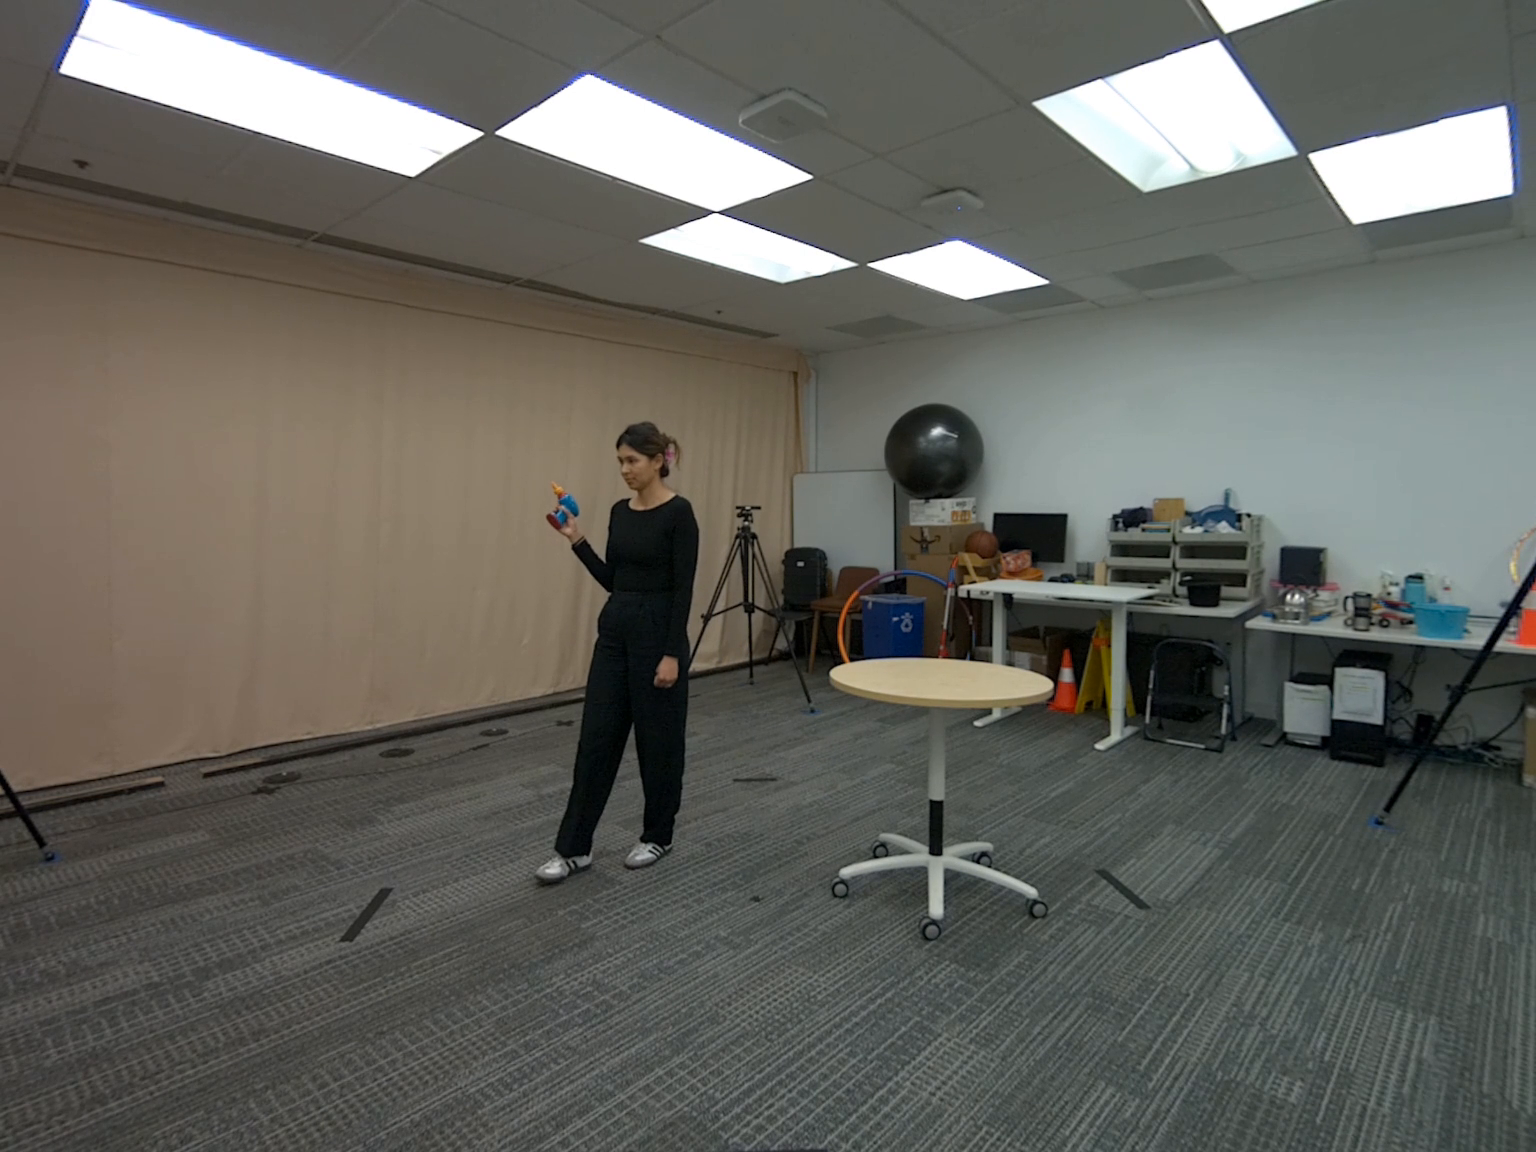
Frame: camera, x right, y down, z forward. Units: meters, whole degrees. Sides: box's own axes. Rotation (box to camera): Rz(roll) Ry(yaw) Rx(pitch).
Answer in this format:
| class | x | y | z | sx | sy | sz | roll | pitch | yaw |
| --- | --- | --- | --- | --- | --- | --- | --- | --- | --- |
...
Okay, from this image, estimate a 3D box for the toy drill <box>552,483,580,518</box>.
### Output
| class | x | y | z | sx | sy | sz | roll | pitch | yaw |
| --- | --- | --- | --- | --- | --- | --- | --- | --- | --- |
| toy drill | -0.833 | -0.285 | 3.346 | 0.062 | 0.167 | 0.145 | -18 | 22 | 42 |
